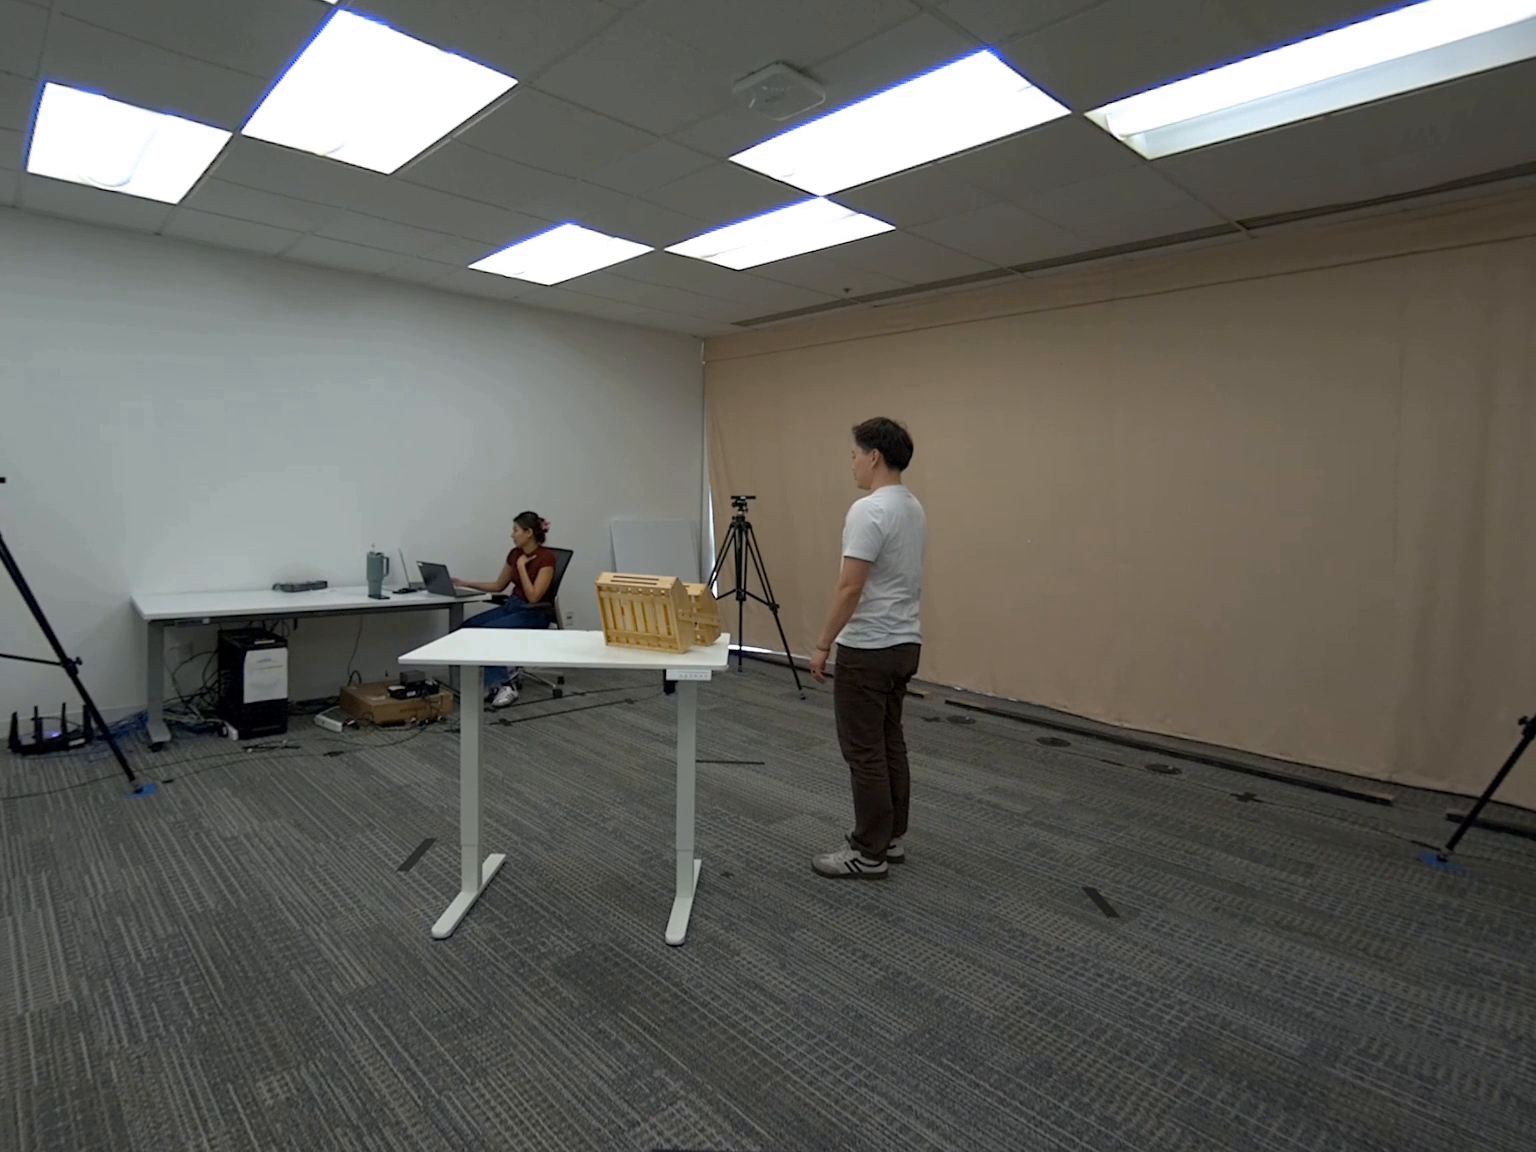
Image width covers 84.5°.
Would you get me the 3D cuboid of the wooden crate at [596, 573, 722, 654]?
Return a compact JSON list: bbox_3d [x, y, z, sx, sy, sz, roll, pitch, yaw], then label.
[{"bbox_3d":[-0.378,0.105,2.846,0.331,0.297,0.272,3,21,26],"label":"wooden crate"}]
